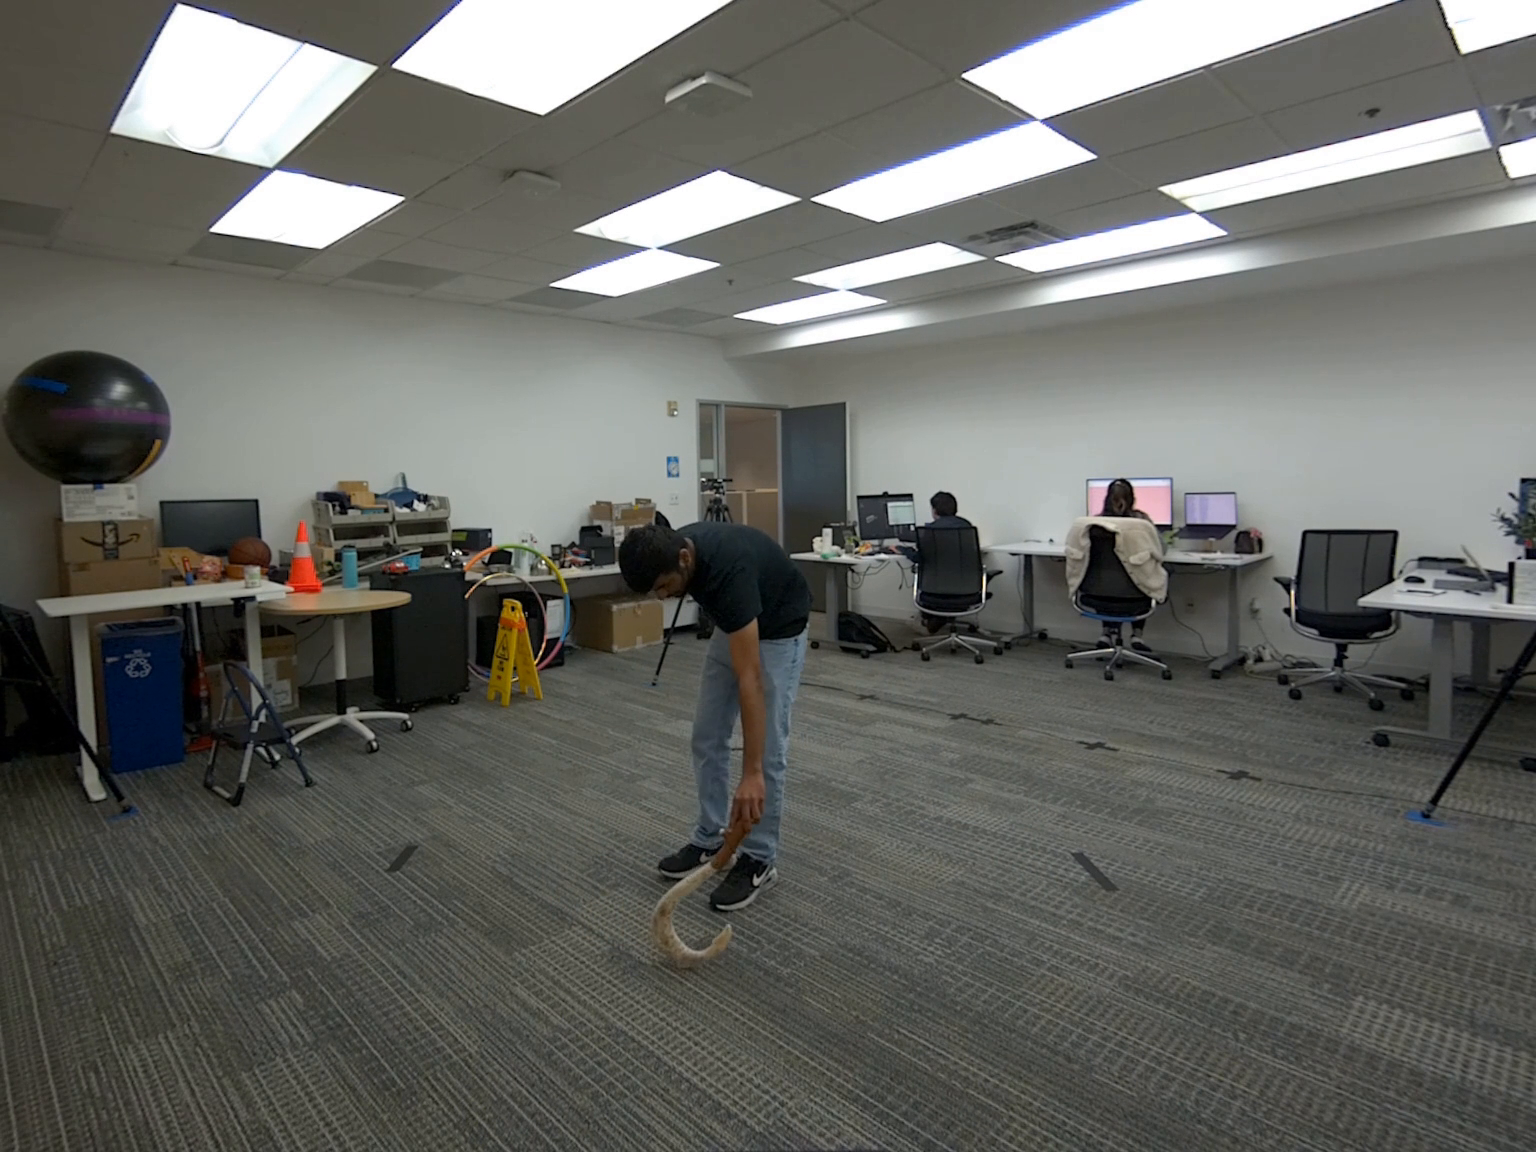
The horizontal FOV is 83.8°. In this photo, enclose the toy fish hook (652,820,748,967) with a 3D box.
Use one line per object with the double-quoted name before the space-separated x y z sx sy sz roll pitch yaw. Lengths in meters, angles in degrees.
"toy fish hook" -0.144 0.900 2.440 0.227 0.506 0.048 34 6 9
